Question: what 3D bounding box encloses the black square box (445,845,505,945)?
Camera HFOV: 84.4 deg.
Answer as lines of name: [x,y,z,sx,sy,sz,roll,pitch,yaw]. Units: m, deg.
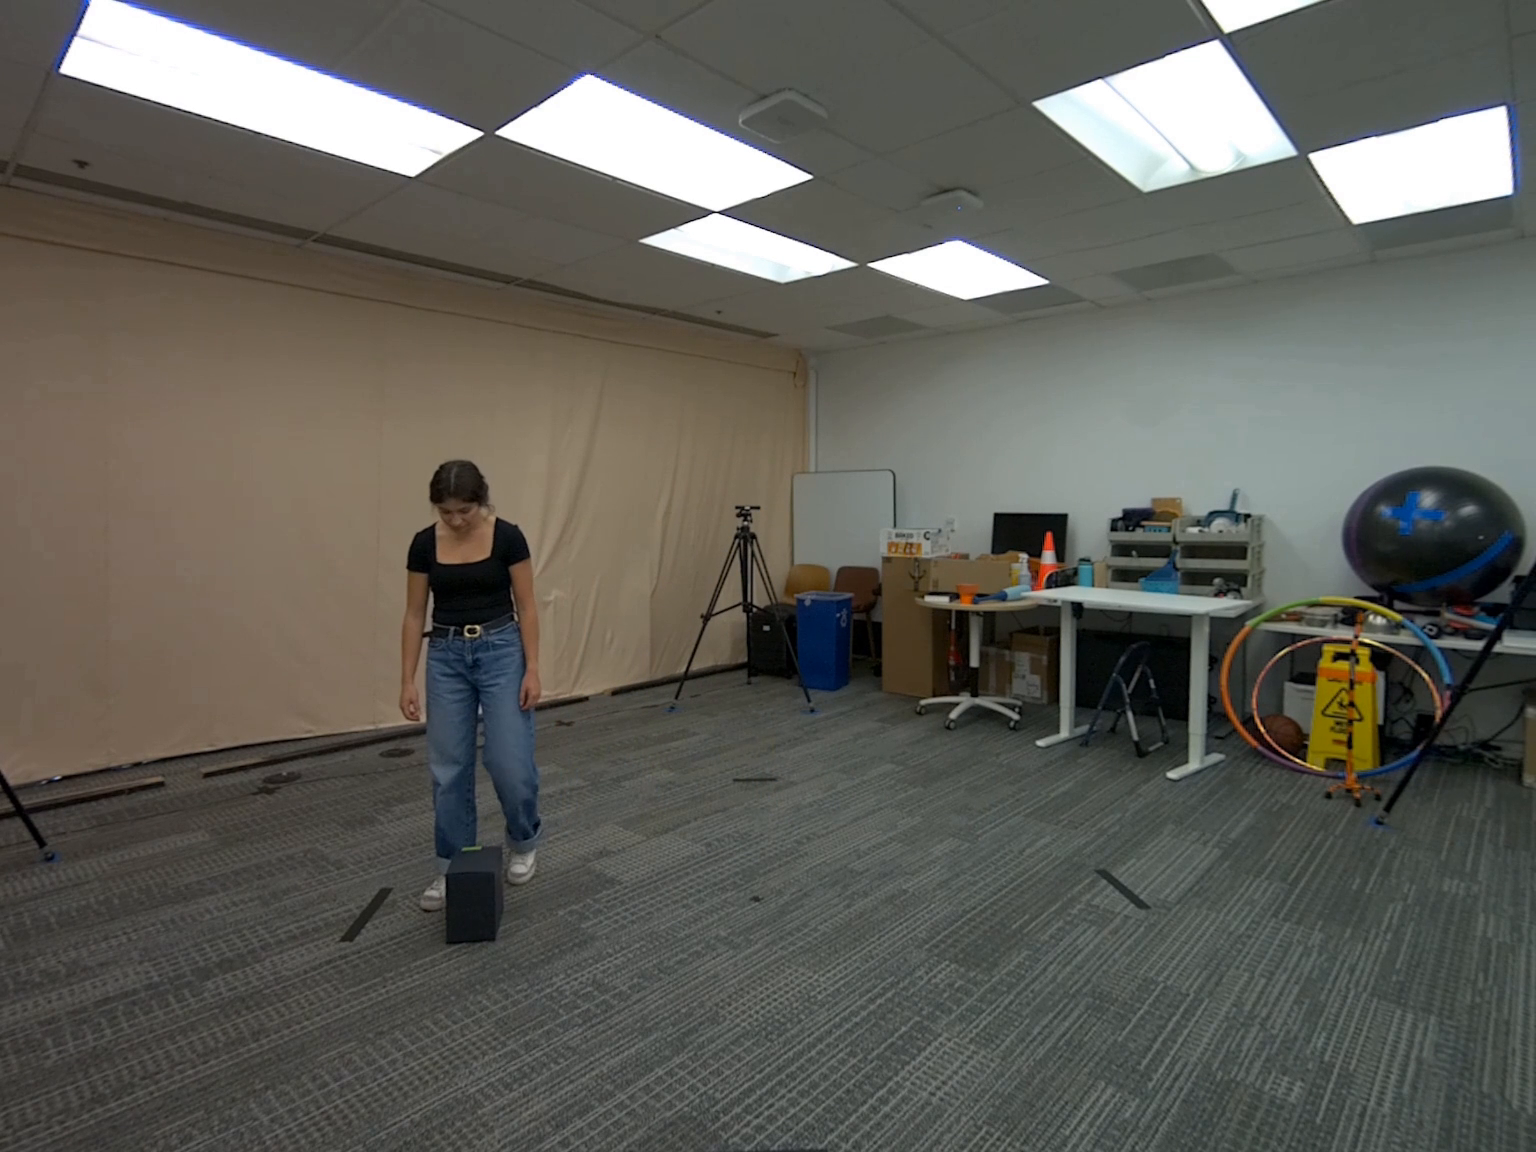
black square box: [-0.971,1.048,2.791,0.154,0.227,0.219,-1,3,-9]
